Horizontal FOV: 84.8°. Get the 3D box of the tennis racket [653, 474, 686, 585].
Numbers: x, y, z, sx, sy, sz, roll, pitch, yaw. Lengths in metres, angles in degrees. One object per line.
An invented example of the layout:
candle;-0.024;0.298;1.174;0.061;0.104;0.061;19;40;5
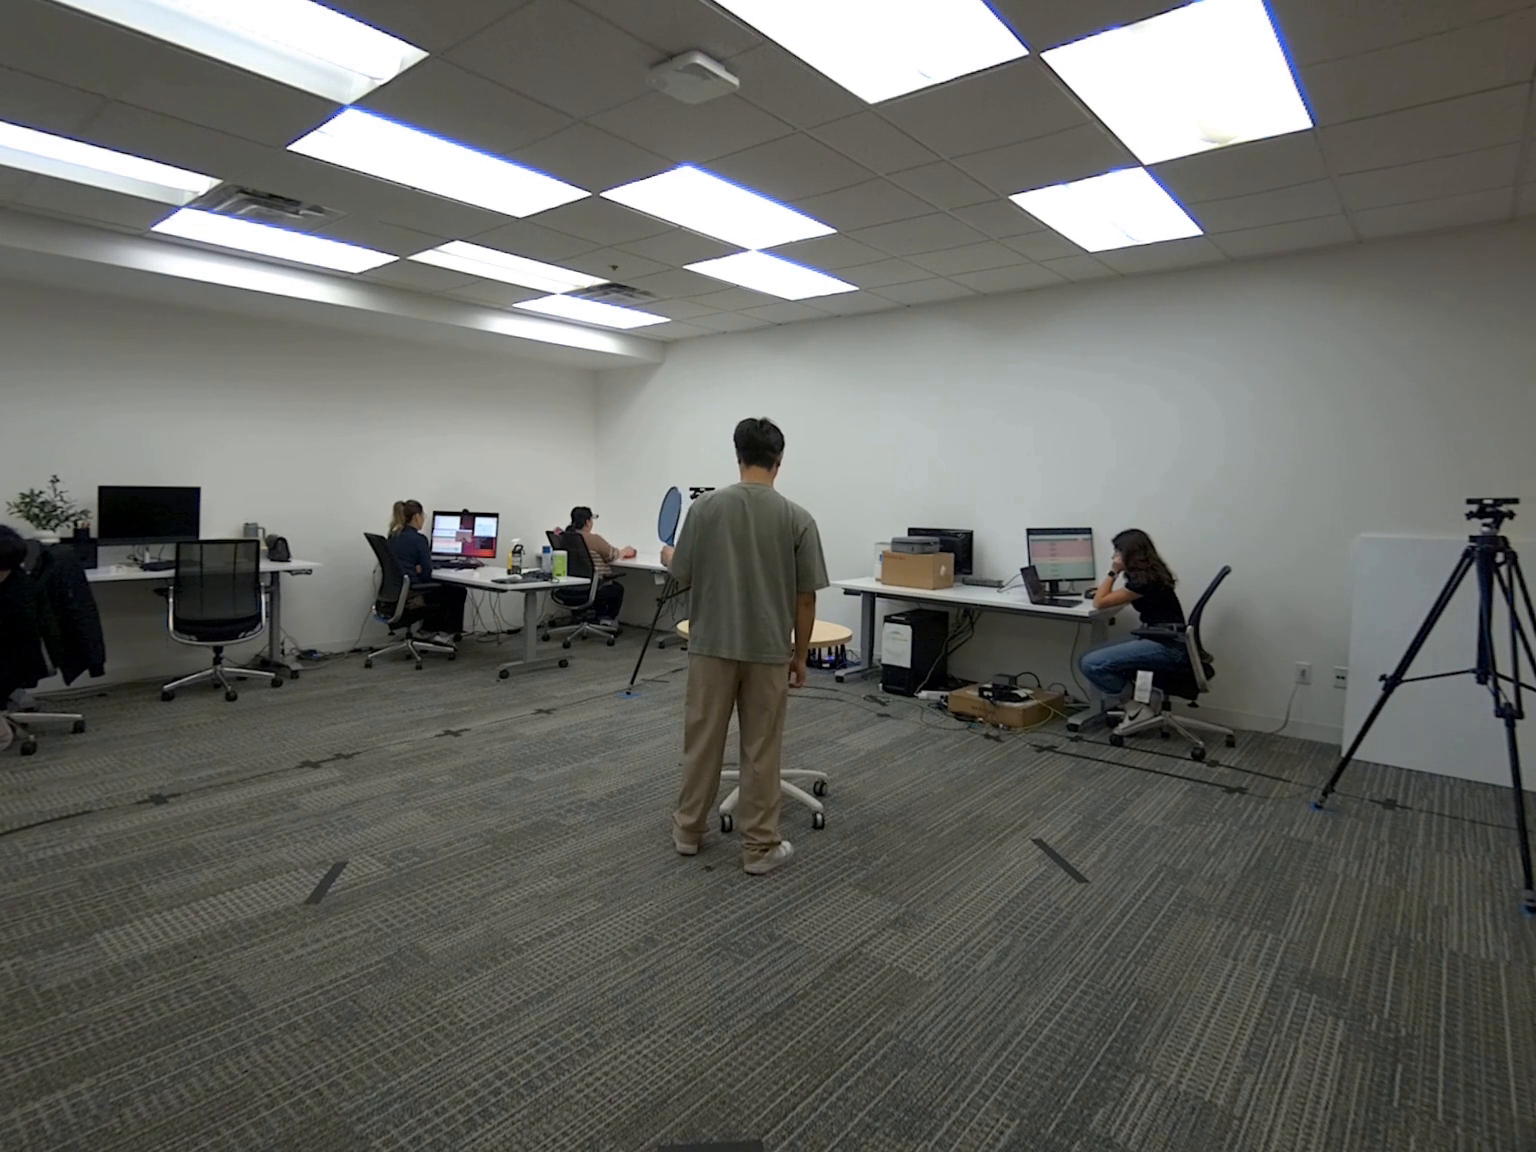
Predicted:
tennis racket;-0.415;-0.203;3.555;0.031;0.448;0.213;13;-45;-27
